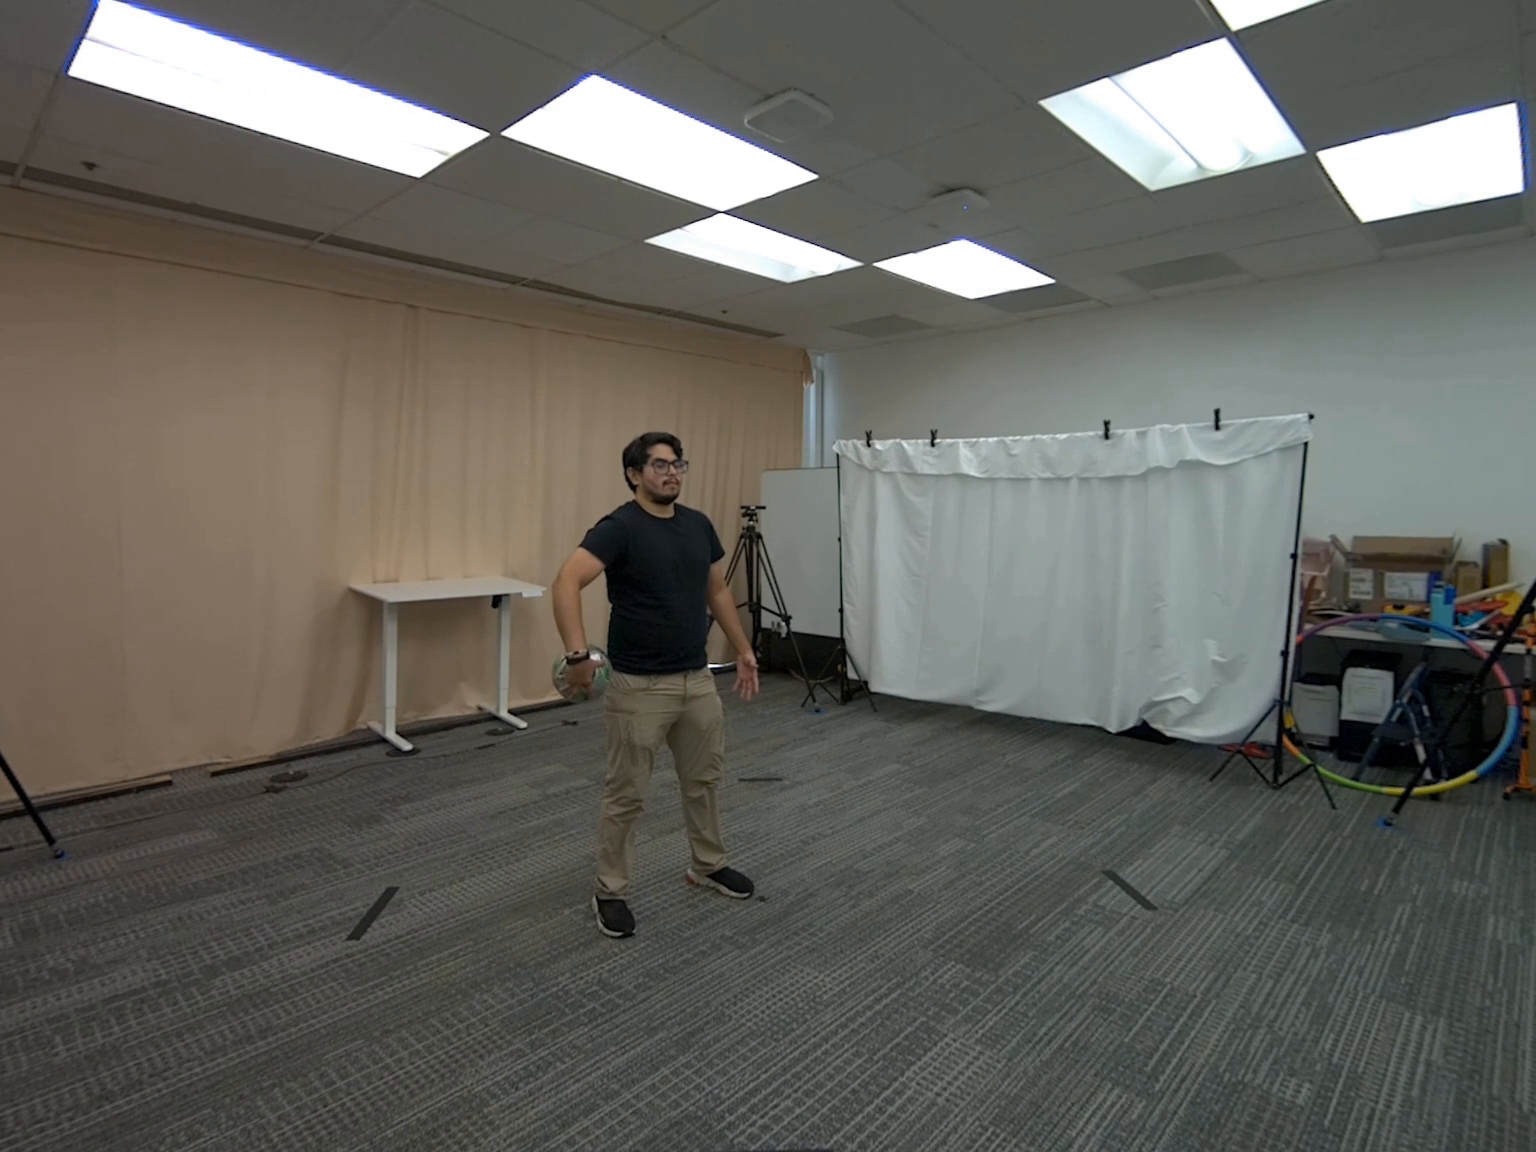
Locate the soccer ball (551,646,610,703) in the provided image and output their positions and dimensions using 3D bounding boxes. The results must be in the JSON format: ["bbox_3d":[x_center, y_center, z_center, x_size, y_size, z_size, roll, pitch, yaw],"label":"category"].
[{"bbox_3d":[-0.576,0.302,2.628,0.187,0.187,0.188,0,4,-2],"label":"soccer ball"}]
